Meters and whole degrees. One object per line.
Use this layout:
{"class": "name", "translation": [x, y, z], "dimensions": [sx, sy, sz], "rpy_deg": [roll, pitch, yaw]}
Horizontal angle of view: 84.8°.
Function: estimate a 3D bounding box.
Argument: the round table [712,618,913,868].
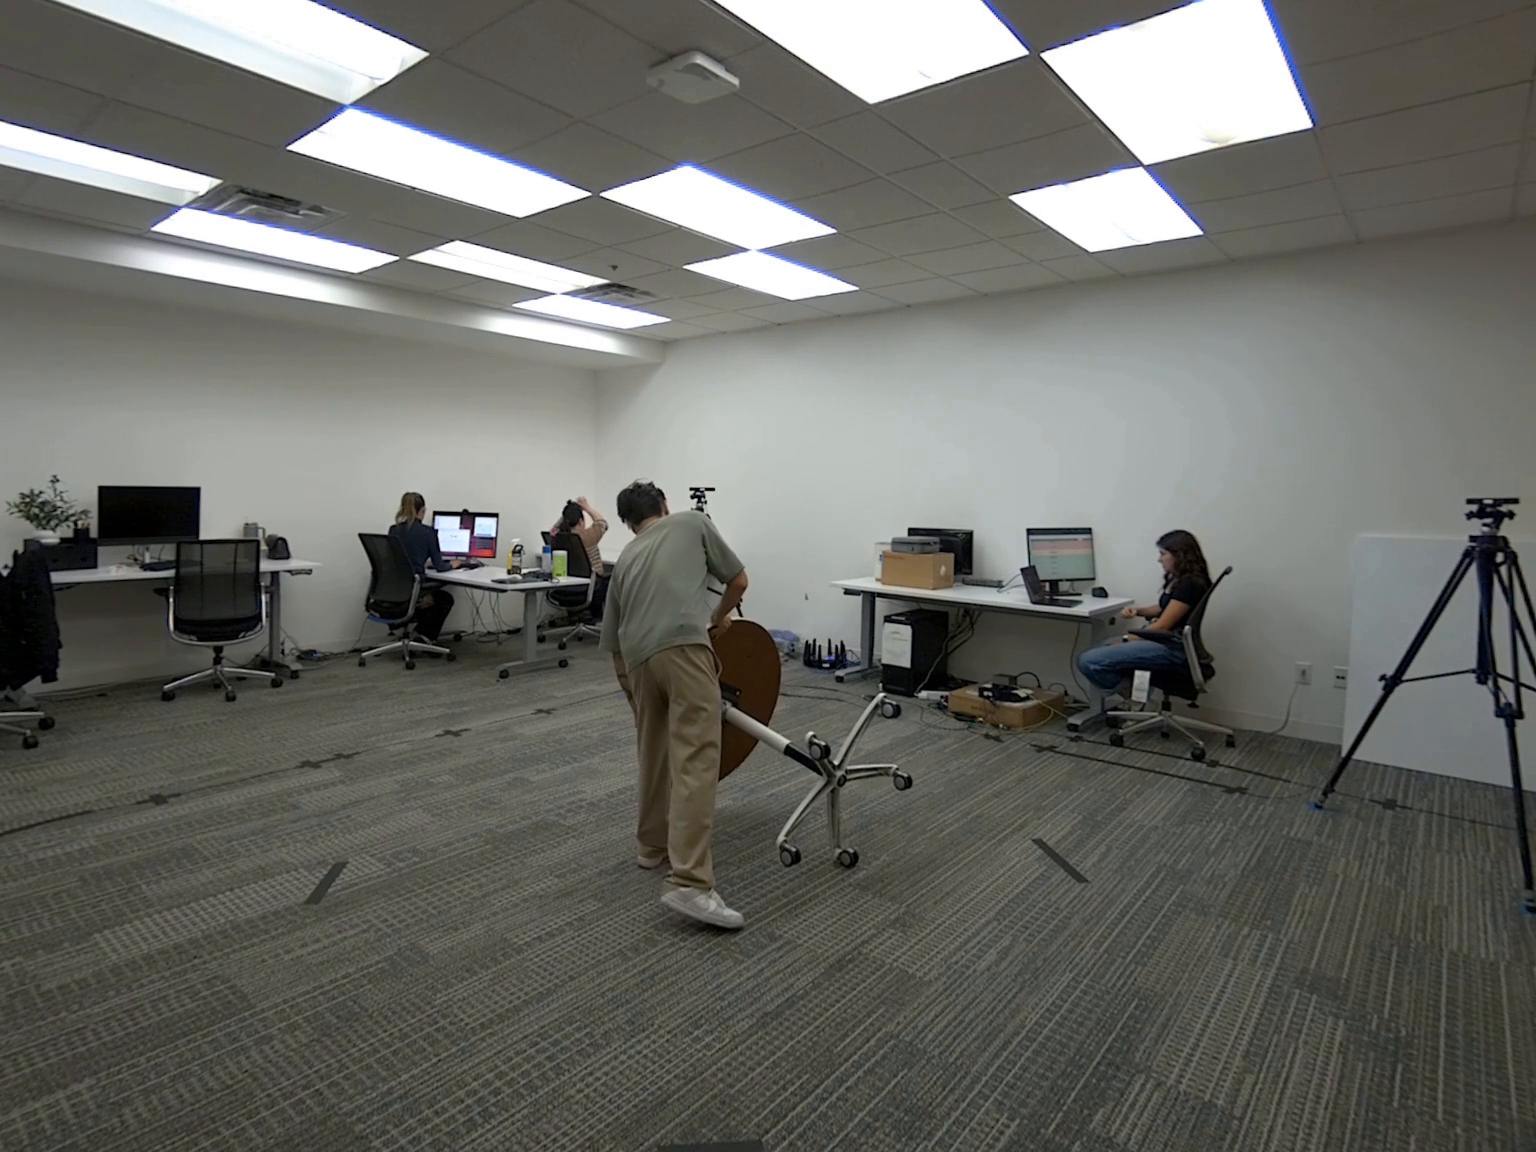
{"class": "round table", "translation": [0.046, 0.652, 3.303], "dimensions": [0.761, 0.777, 0.819], "rpy_deg": [-3, 19, -45]}
